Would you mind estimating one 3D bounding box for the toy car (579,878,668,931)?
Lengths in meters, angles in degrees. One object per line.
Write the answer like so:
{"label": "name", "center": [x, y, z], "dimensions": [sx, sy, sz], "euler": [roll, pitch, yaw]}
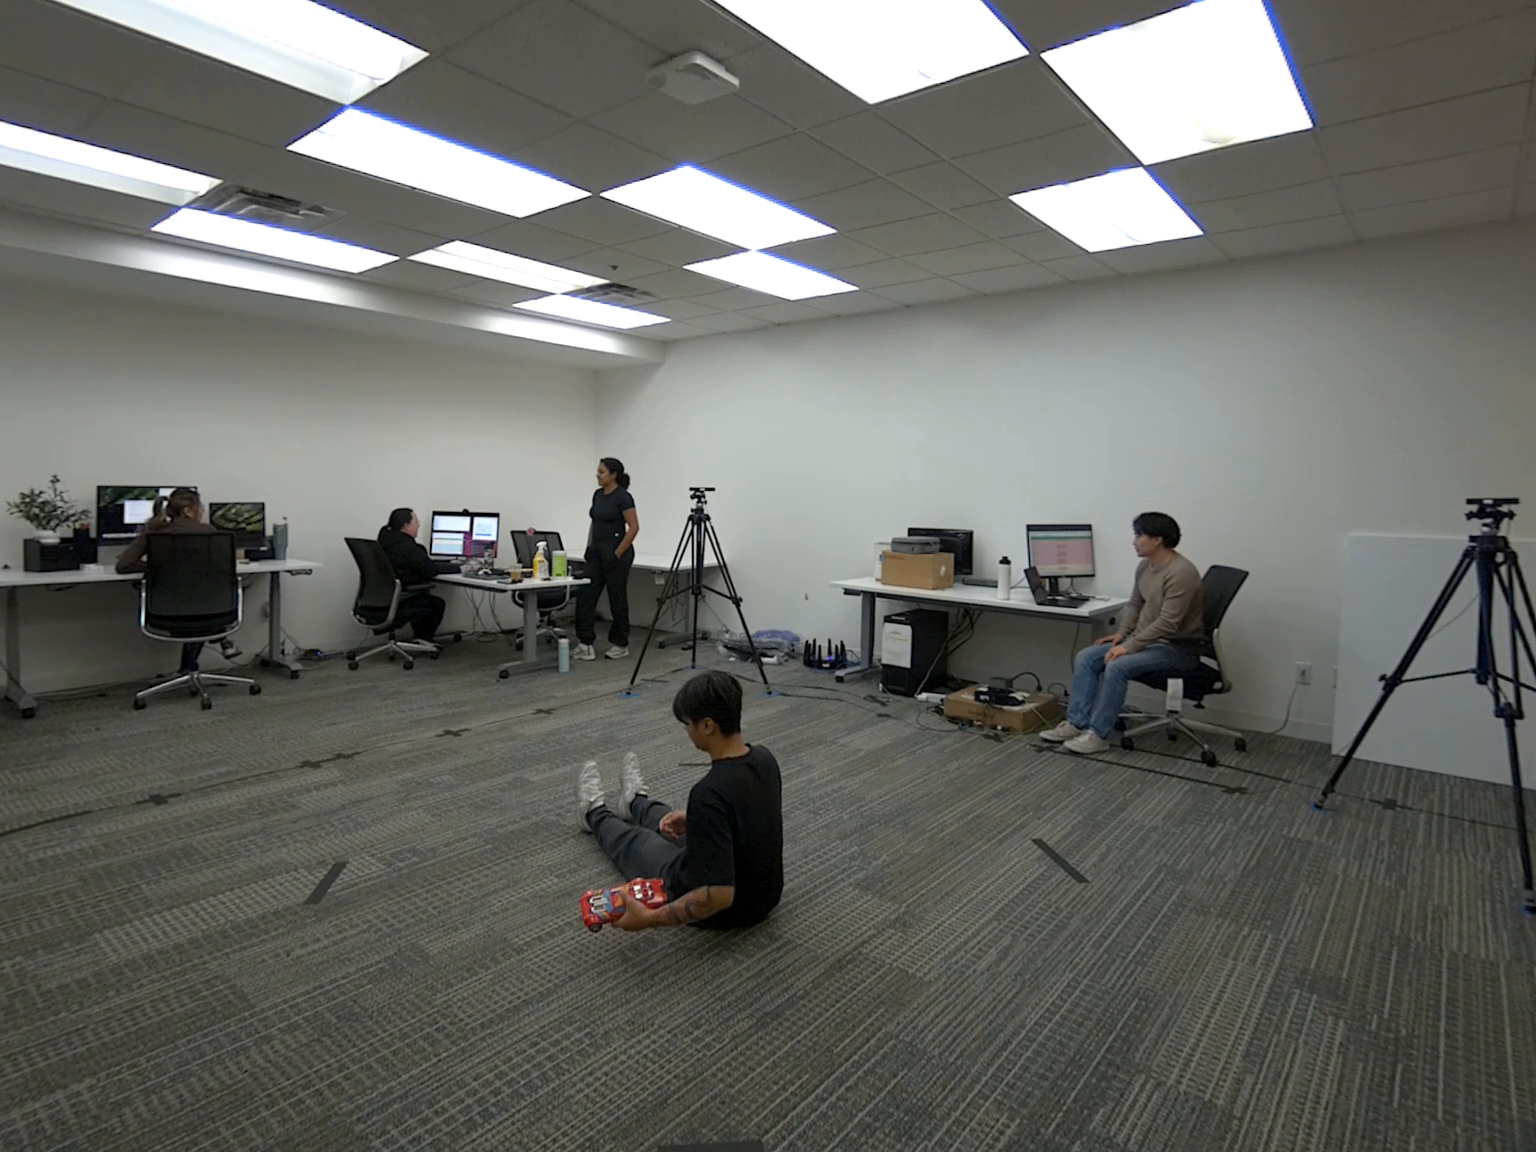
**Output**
{"label": "toy car", "center": [-0.444, 0.967, 2.550], "dimensions": [0.252, 0.080, 0.135], "euler": [-15, 38, -10]}
